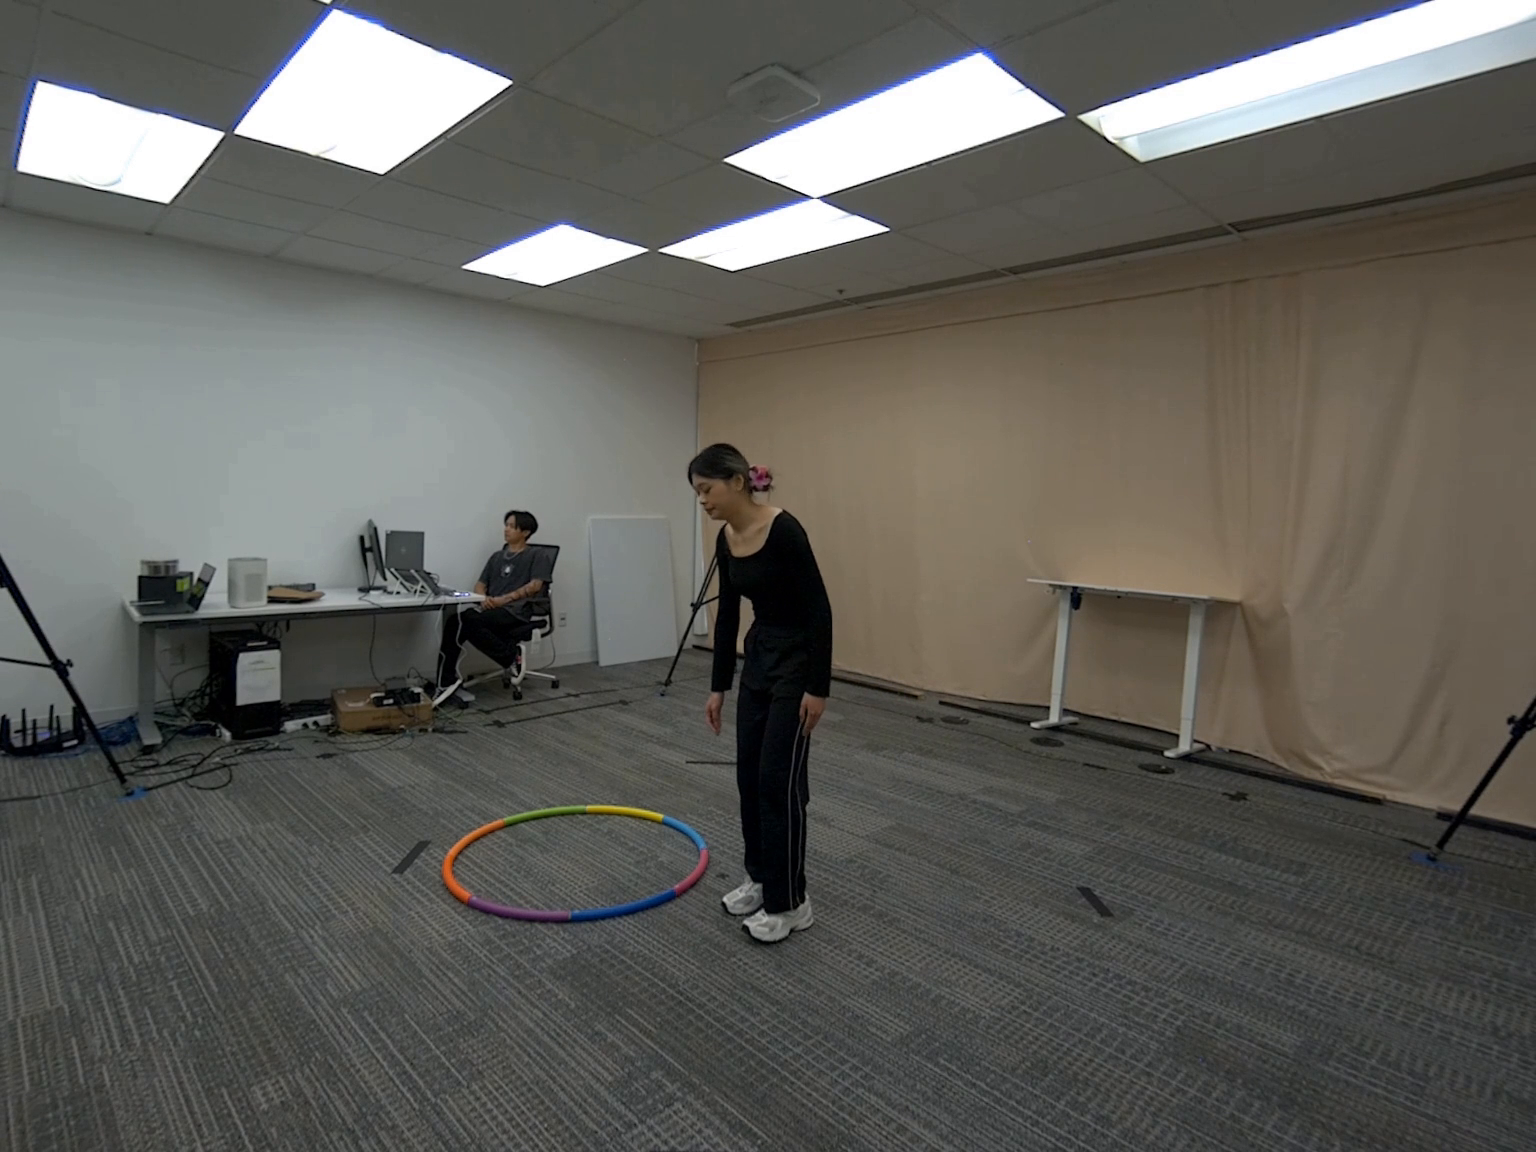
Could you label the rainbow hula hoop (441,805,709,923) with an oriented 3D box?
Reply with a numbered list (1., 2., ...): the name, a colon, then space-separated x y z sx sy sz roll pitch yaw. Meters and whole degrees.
1. rainbow hula hoop: -0.721 1.054 3.214 0.978 0.035 0.982 2 5 -1
